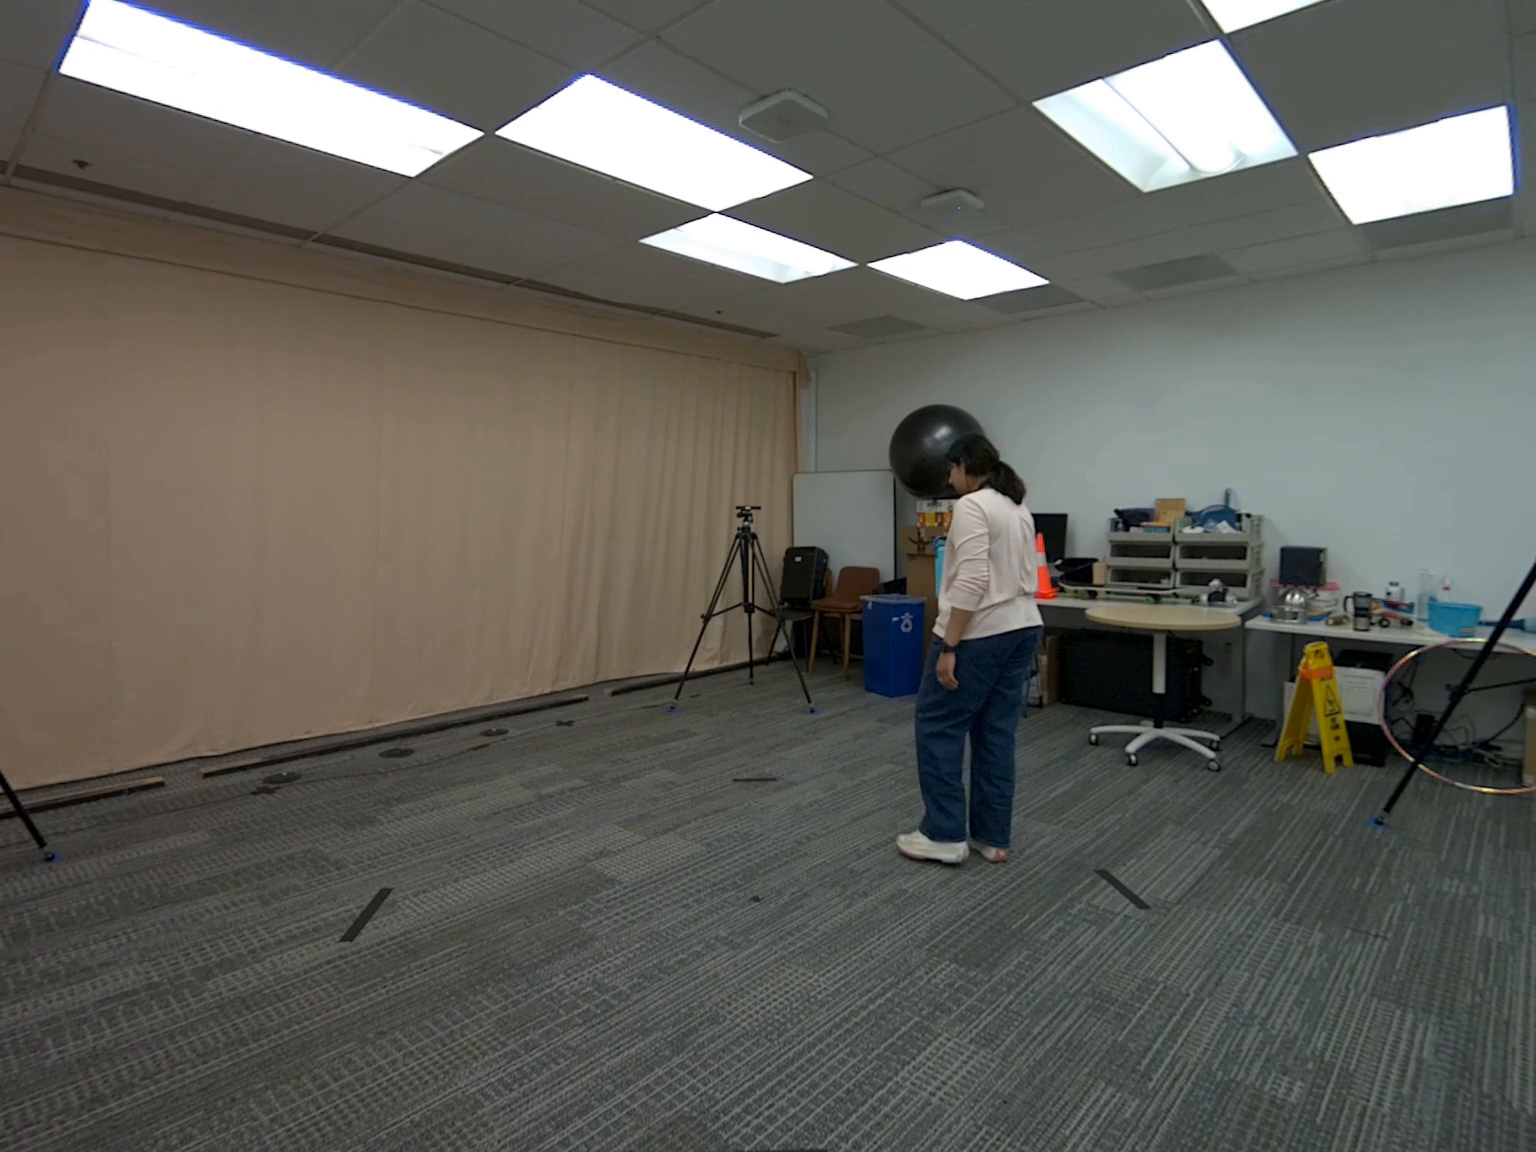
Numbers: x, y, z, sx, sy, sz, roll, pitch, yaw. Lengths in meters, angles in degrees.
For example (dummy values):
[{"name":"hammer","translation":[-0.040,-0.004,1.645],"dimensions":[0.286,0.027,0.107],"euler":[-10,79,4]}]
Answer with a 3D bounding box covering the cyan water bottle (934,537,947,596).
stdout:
[{"name":"cyan water bottle","translation":[0.777,-0.044,3.670],"dimensions":[0.092,0.283,0.092],"euler":[-2,1,-2]}]
